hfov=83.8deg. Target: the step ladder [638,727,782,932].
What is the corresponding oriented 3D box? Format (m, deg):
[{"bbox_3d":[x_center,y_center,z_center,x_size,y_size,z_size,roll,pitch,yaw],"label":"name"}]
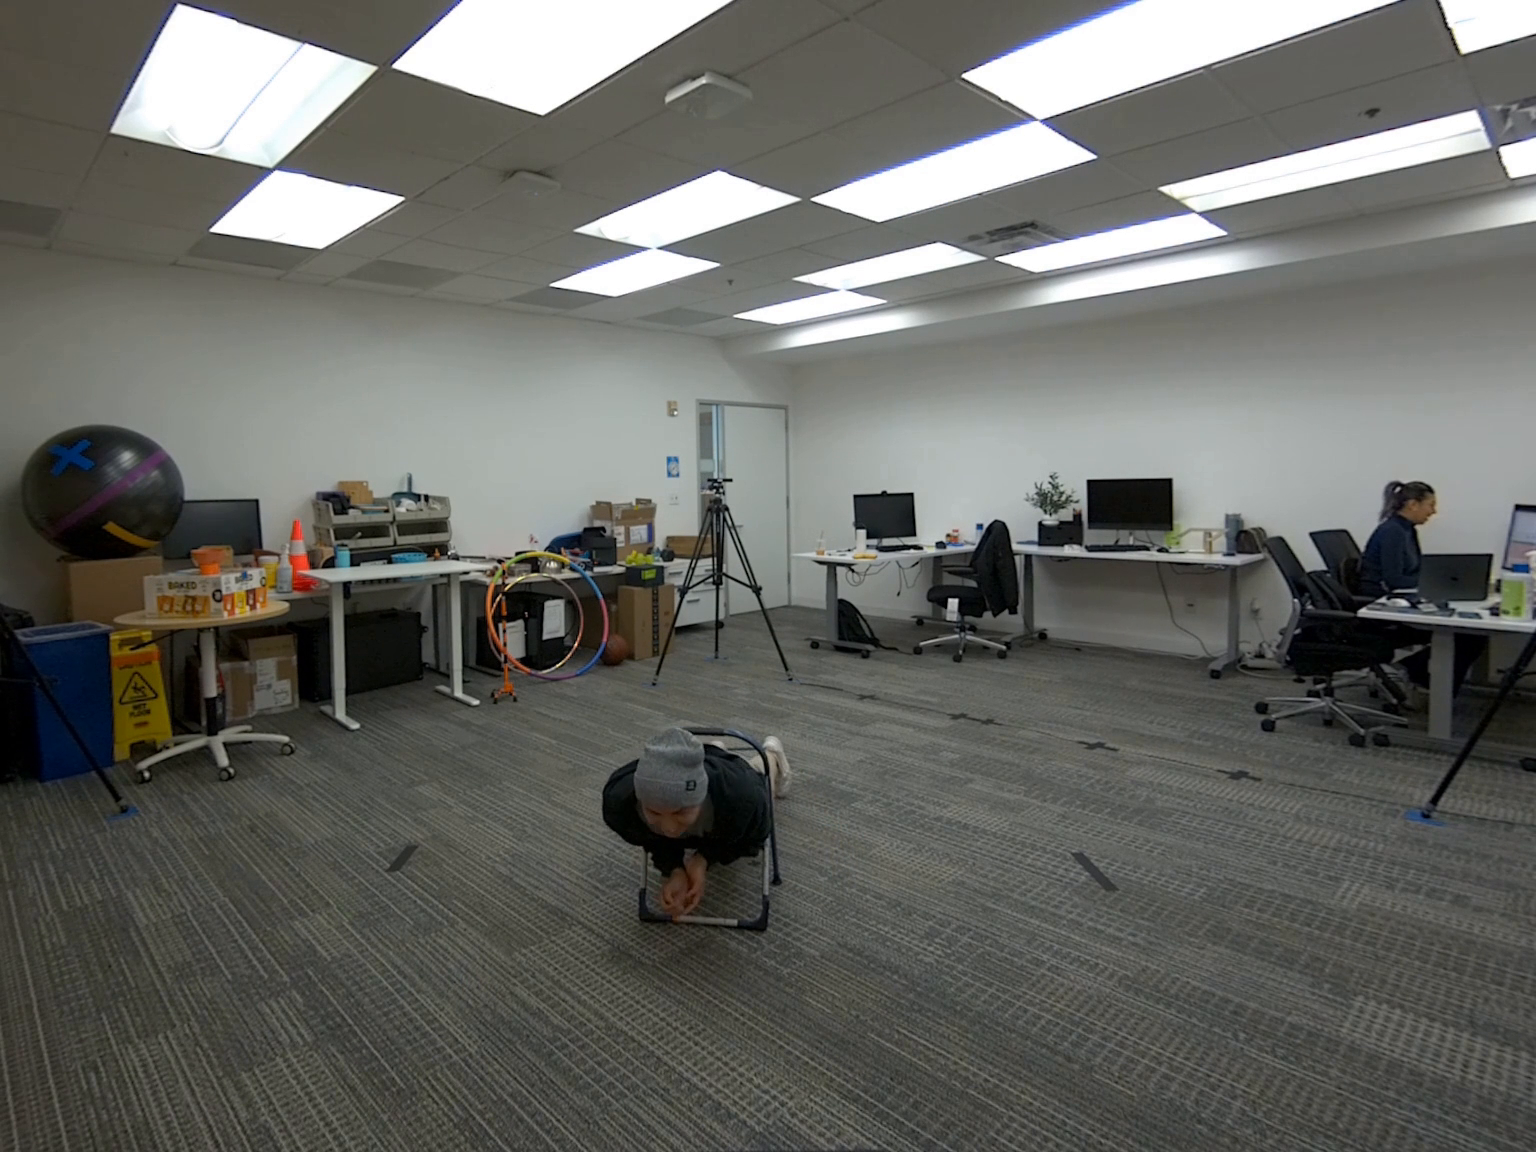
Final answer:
[{"bbox_3d":[-0.182,0.787,2.818,0.435,0.604,0.347,0,4,9],"label":"step ladder"}]
